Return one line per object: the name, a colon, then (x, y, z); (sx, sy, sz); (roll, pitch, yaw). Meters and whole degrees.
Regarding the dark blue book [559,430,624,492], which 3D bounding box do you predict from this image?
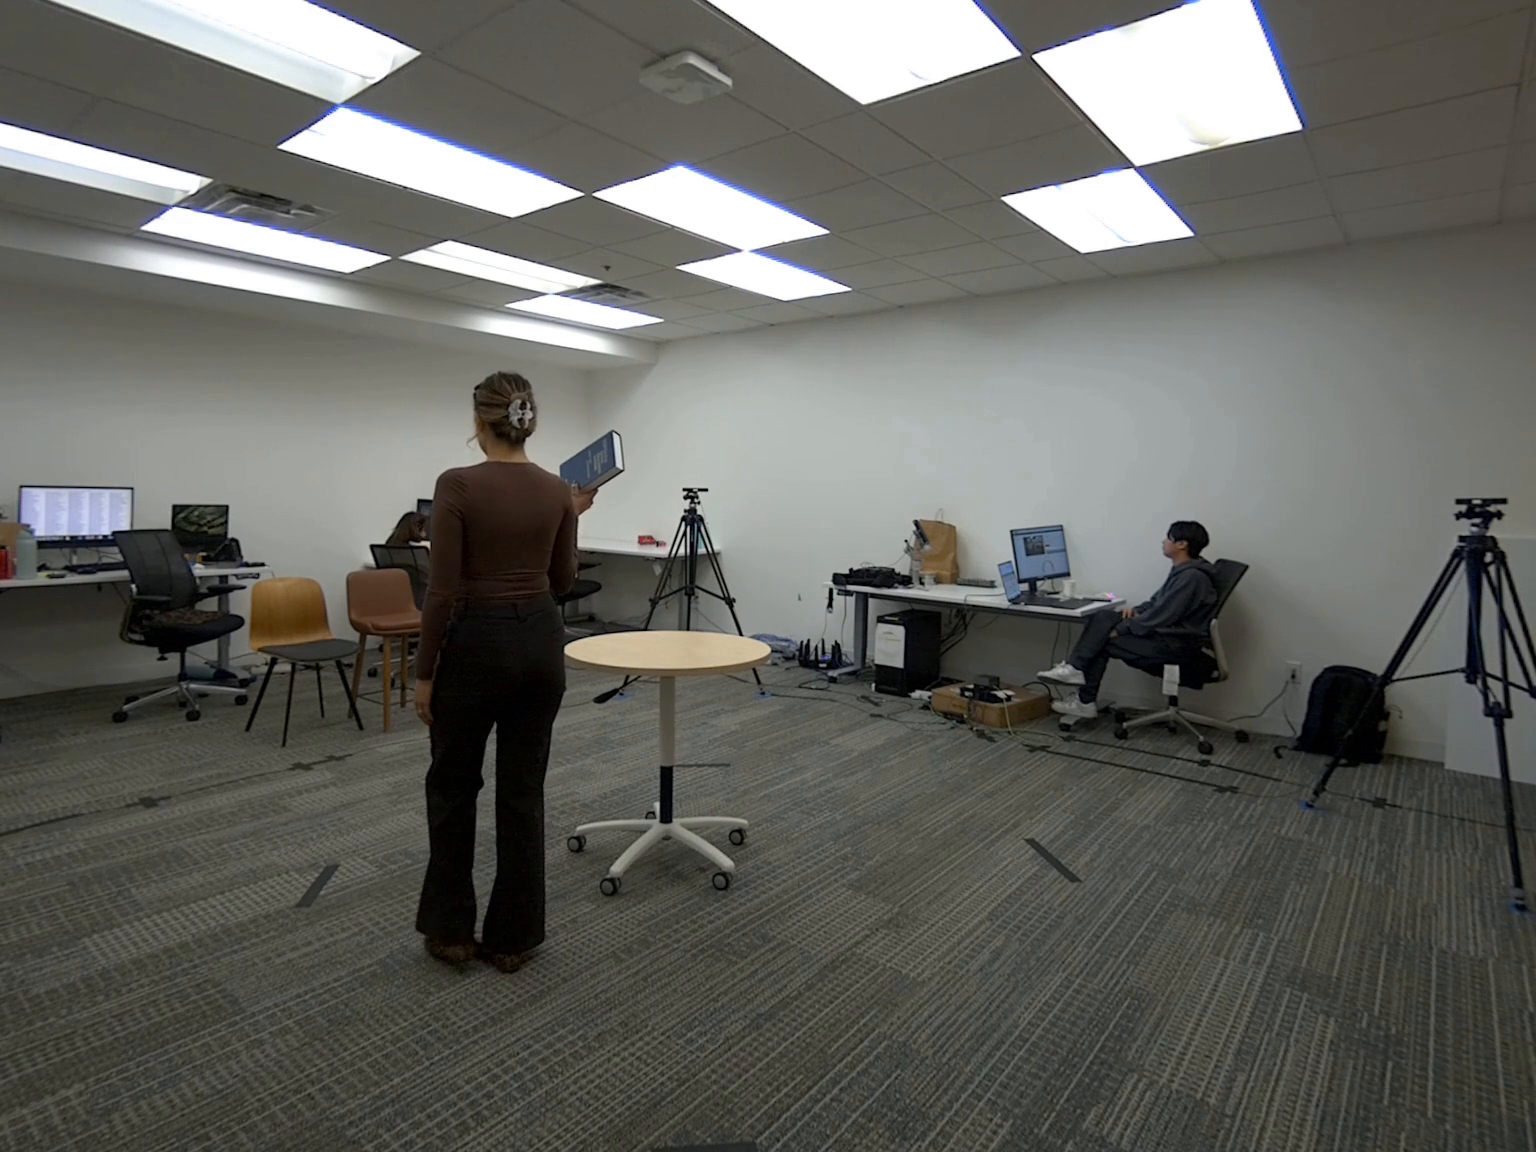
dark blue book: (-0.596, -0.360, 2.819); (0.247, 0.169, 0.043); (-29, -38, 23)
